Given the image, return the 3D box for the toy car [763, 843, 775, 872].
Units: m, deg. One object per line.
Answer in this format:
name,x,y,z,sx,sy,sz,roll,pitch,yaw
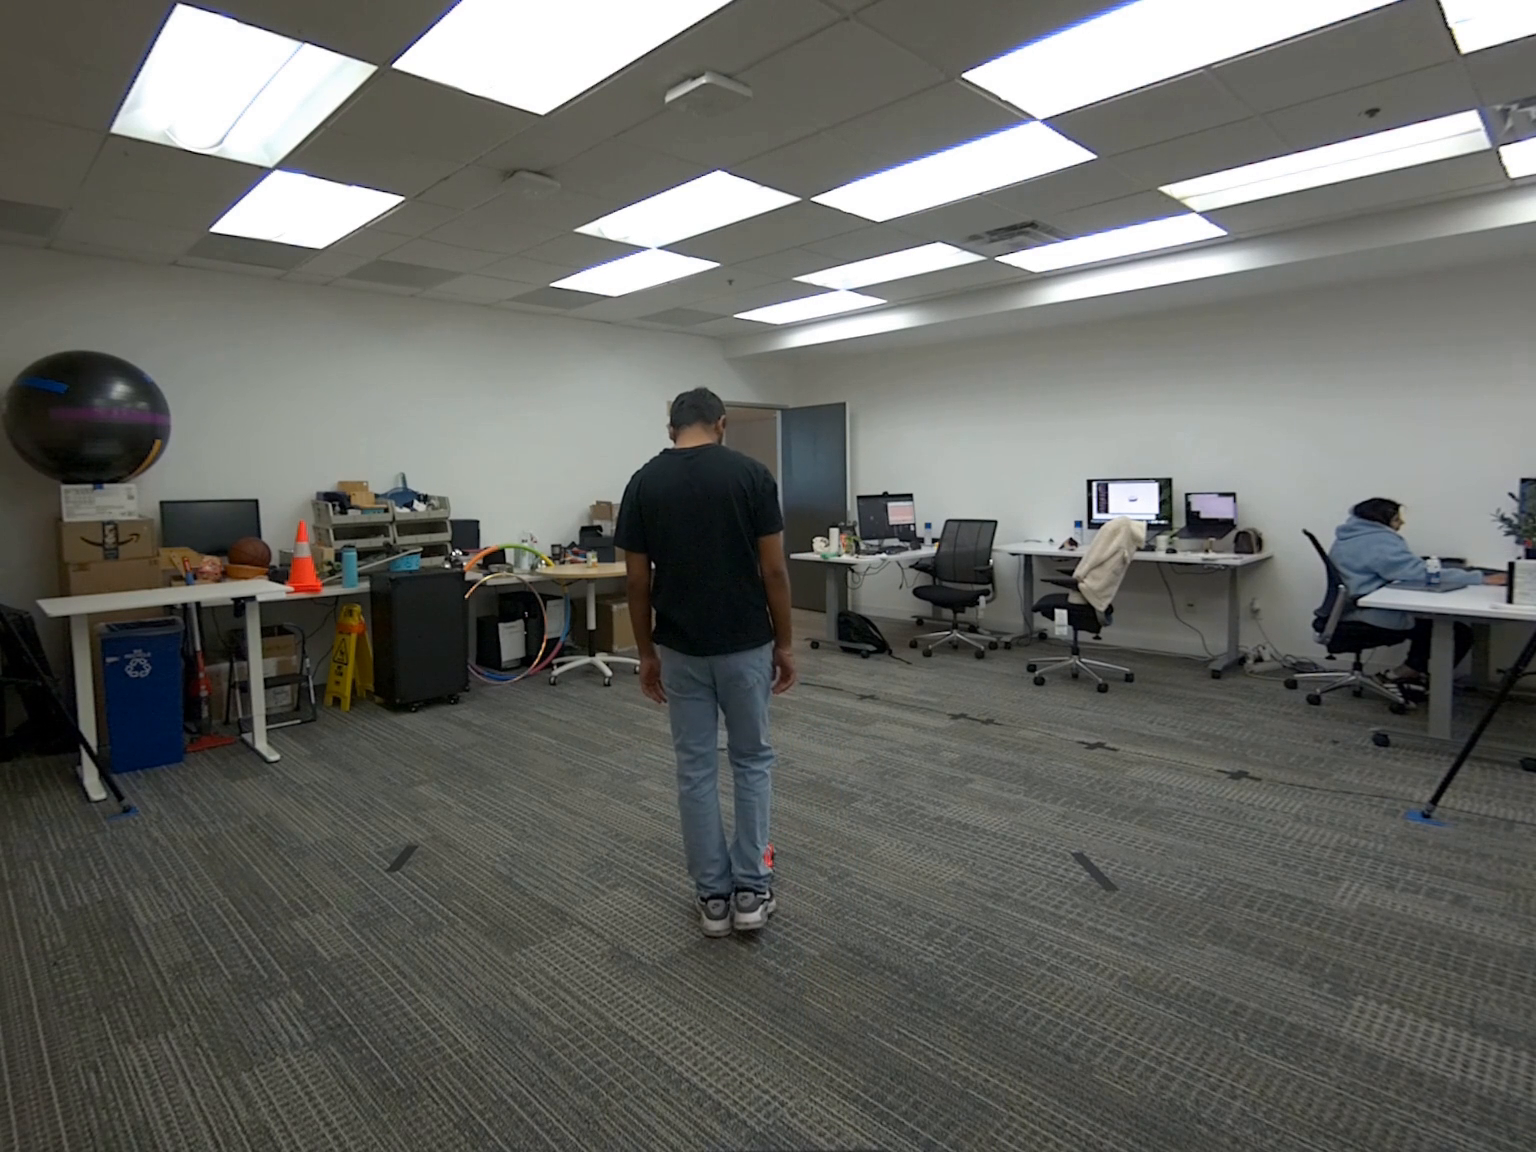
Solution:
toy car,-0.029,1.020,3.052,0.131,0.084,0.252,0,-5,2
